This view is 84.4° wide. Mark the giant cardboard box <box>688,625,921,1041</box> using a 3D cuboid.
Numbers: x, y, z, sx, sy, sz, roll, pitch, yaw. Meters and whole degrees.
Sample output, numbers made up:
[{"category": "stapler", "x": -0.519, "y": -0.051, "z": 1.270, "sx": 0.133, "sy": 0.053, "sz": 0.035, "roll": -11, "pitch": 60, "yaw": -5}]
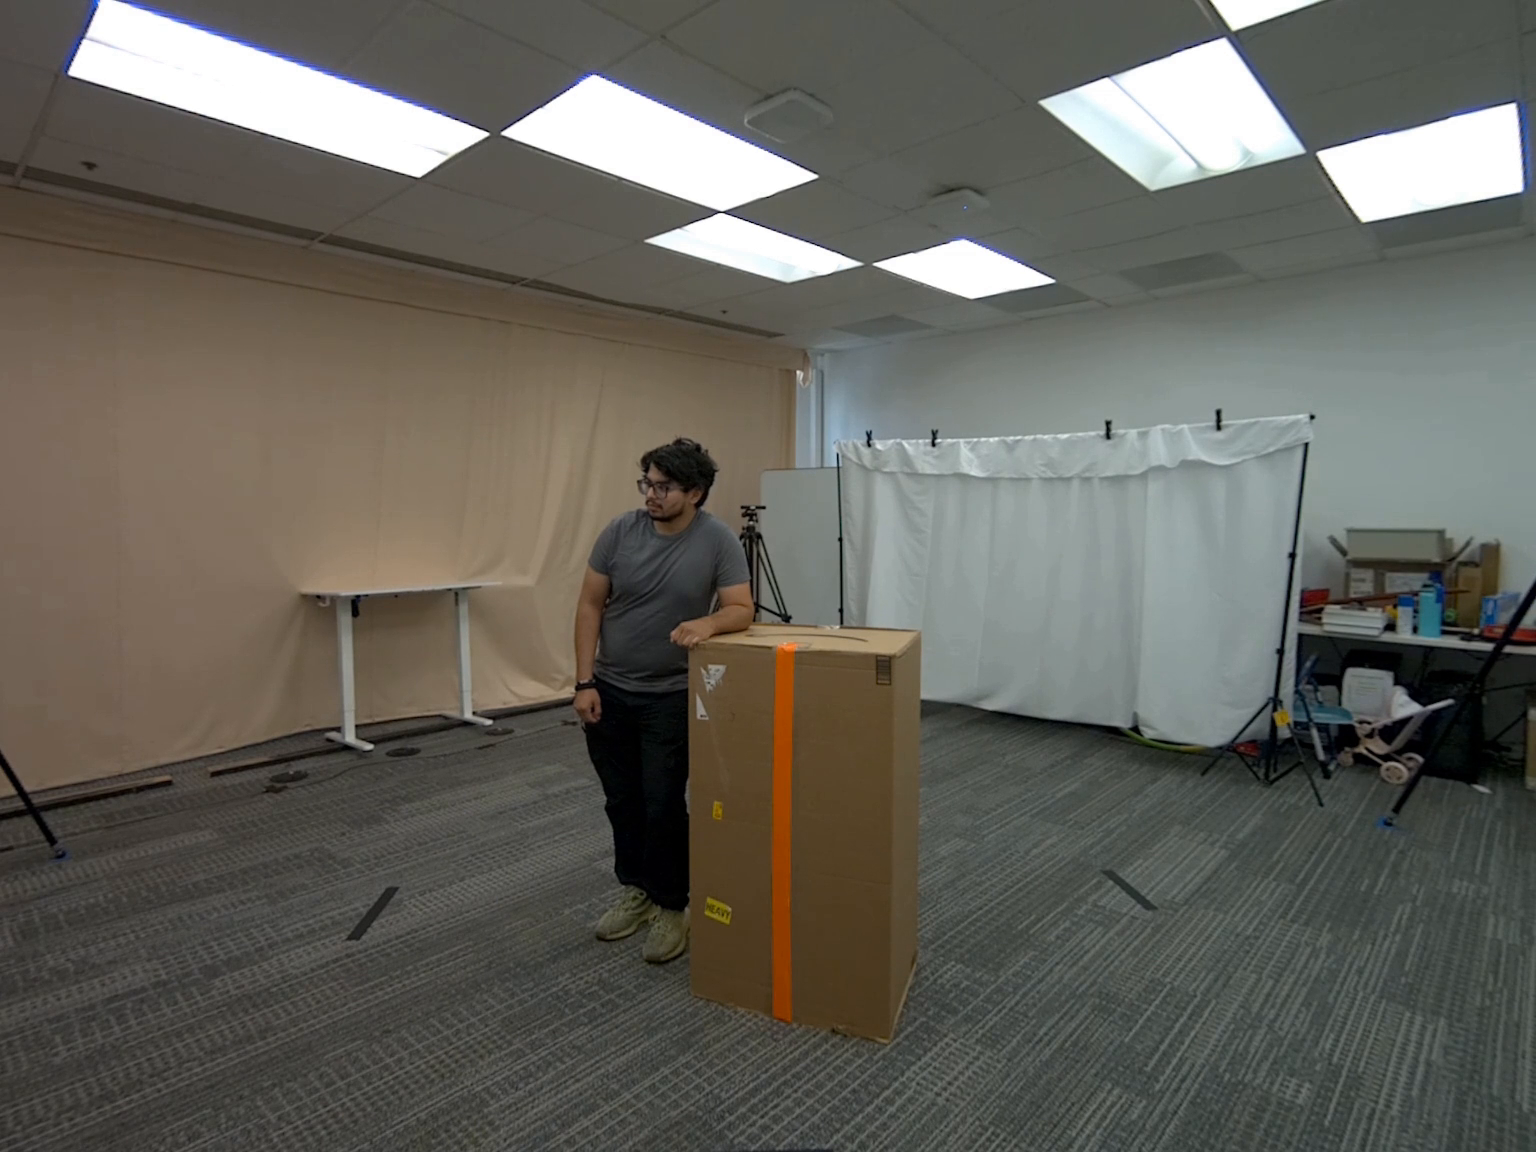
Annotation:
[{"category": "giant cardboard box", "x": 0.125, "y": 0.682, "z": 2.442, "sx": 0.591, "sy": 1.024, "sz": 0.417, "roll": 1, "pitch": 3, "yaw": 23}]
